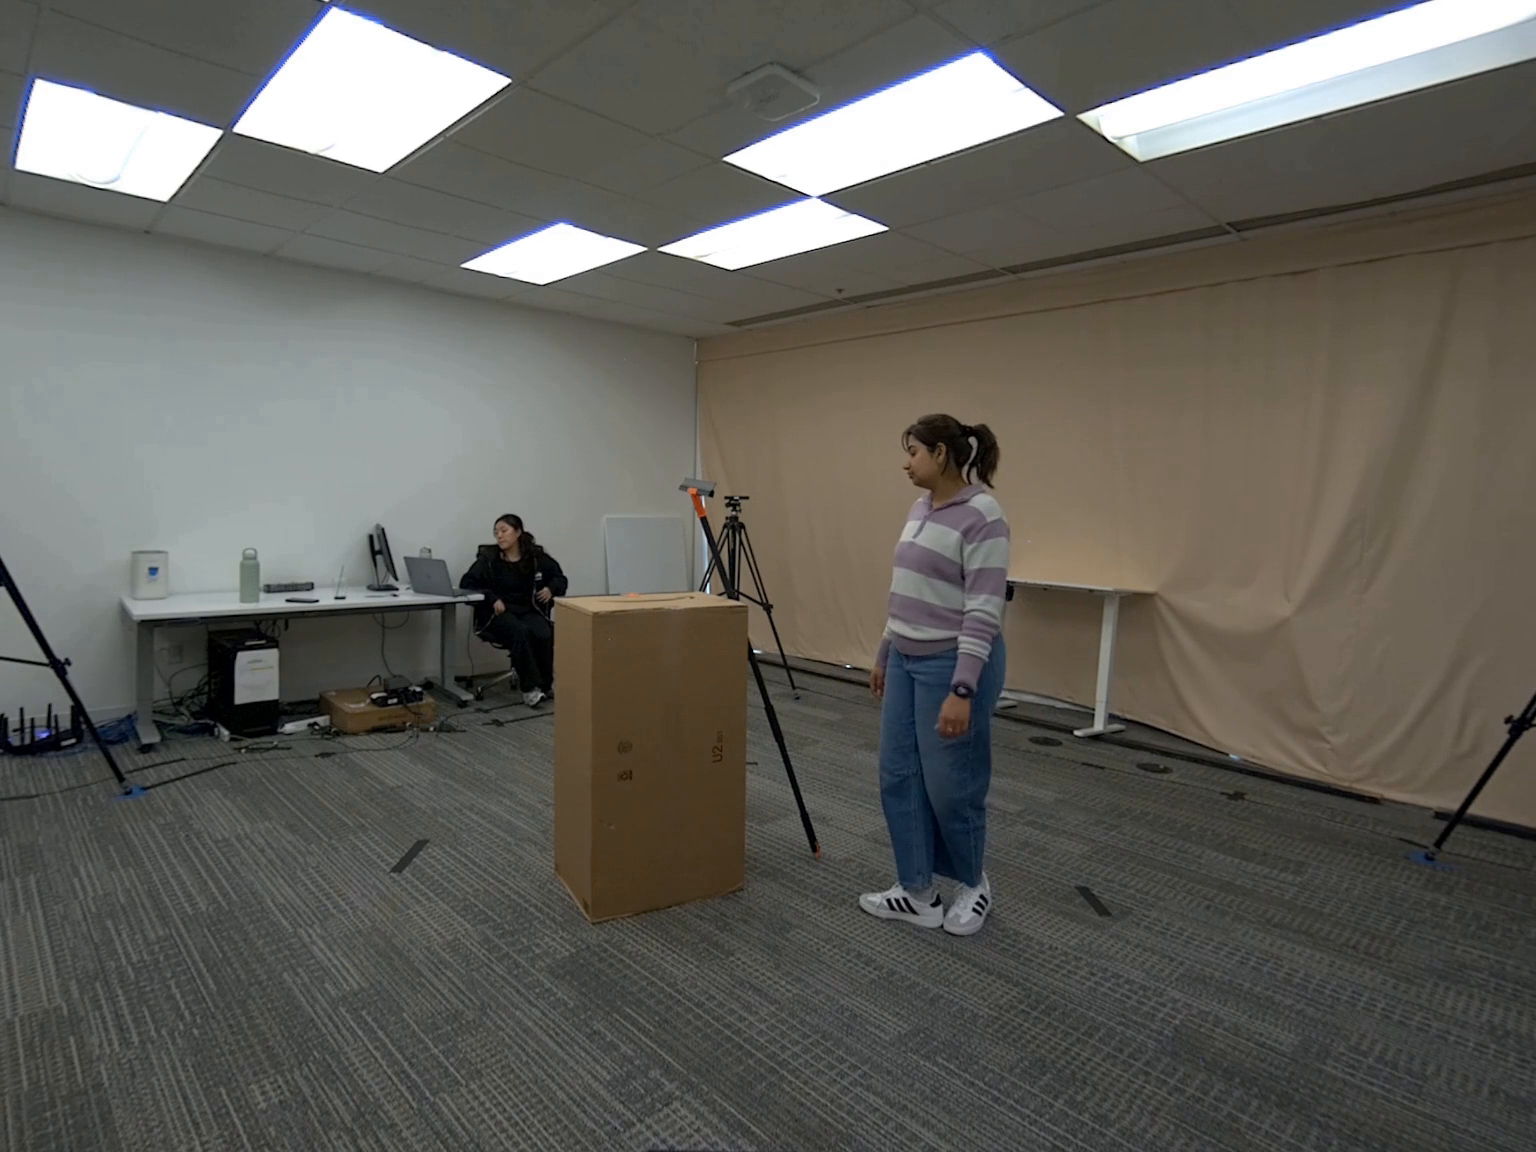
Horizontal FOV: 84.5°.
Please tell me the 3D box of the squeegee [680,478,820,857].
[{"bbox_3d":[-0.032,0.378,3.131,0.052,1.519,0.446,-21,13,-18],"label":"squeegee"}]
